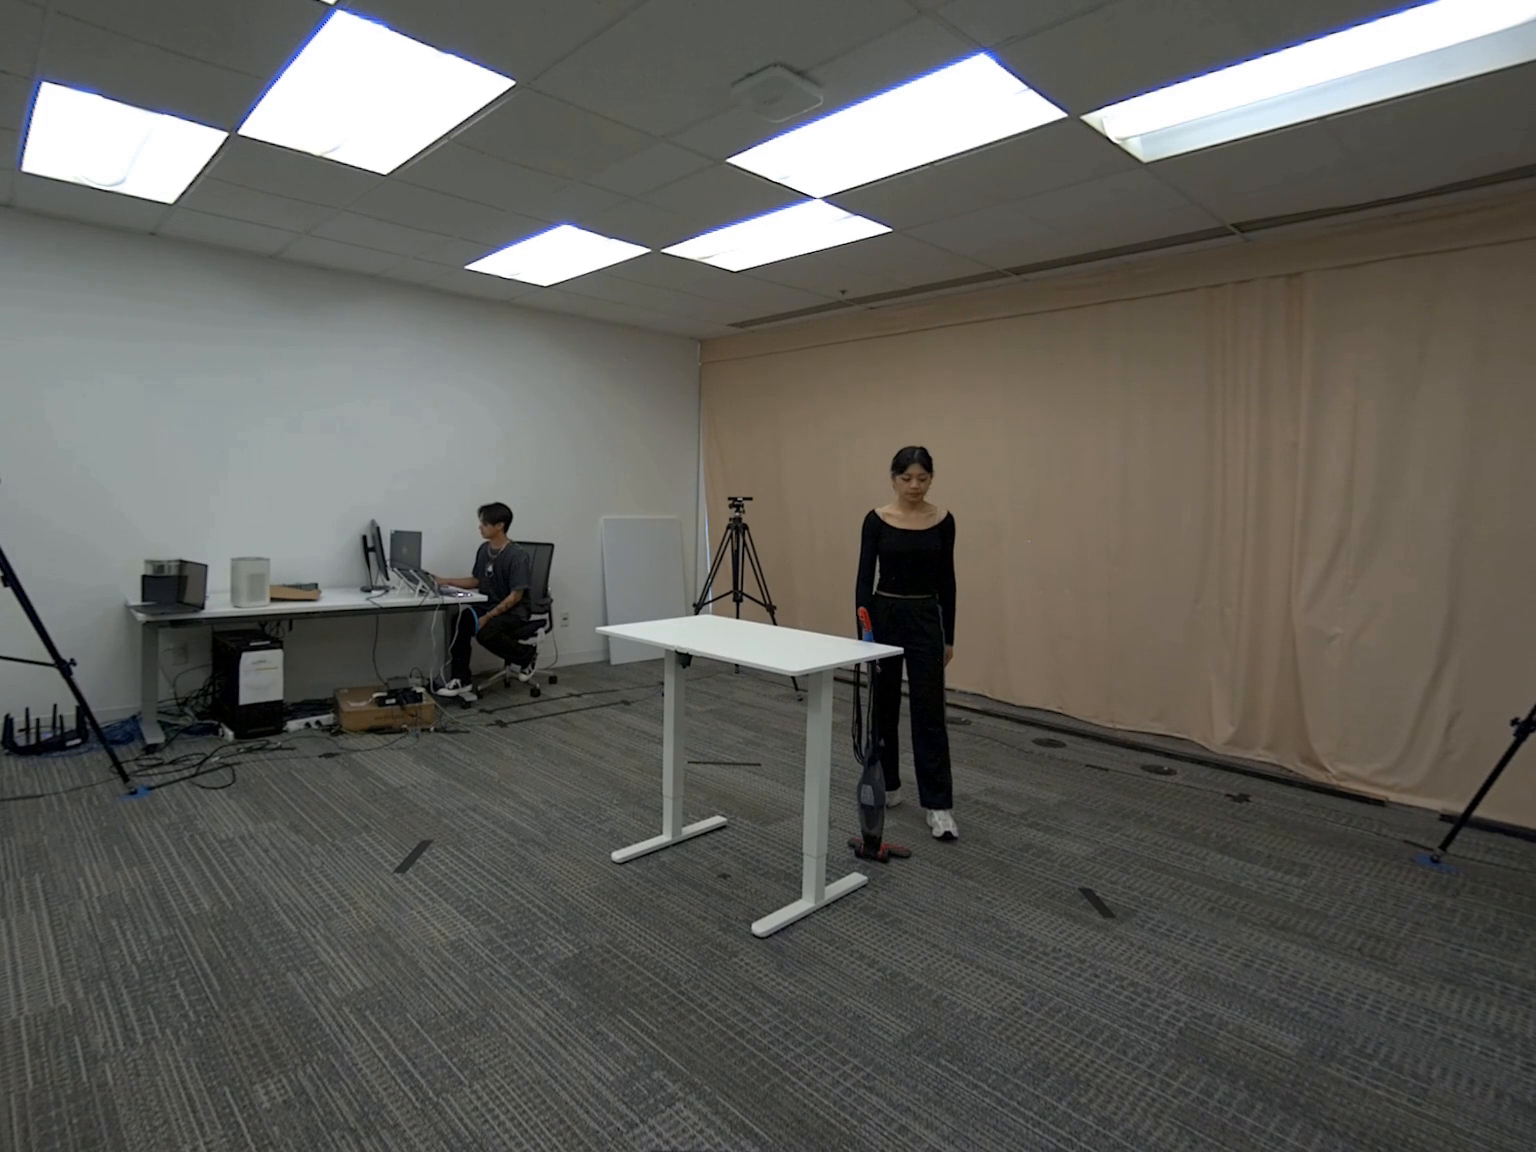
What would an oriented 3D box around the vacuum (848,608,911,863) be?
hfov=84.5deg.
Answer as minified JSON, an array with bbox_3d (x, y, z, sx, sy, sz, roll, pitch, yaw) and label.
[{"bbox_3d":[0.375,0.619,3.166,0.258,1.034,0.143,4,21,30],"label":"vacuum"}]
